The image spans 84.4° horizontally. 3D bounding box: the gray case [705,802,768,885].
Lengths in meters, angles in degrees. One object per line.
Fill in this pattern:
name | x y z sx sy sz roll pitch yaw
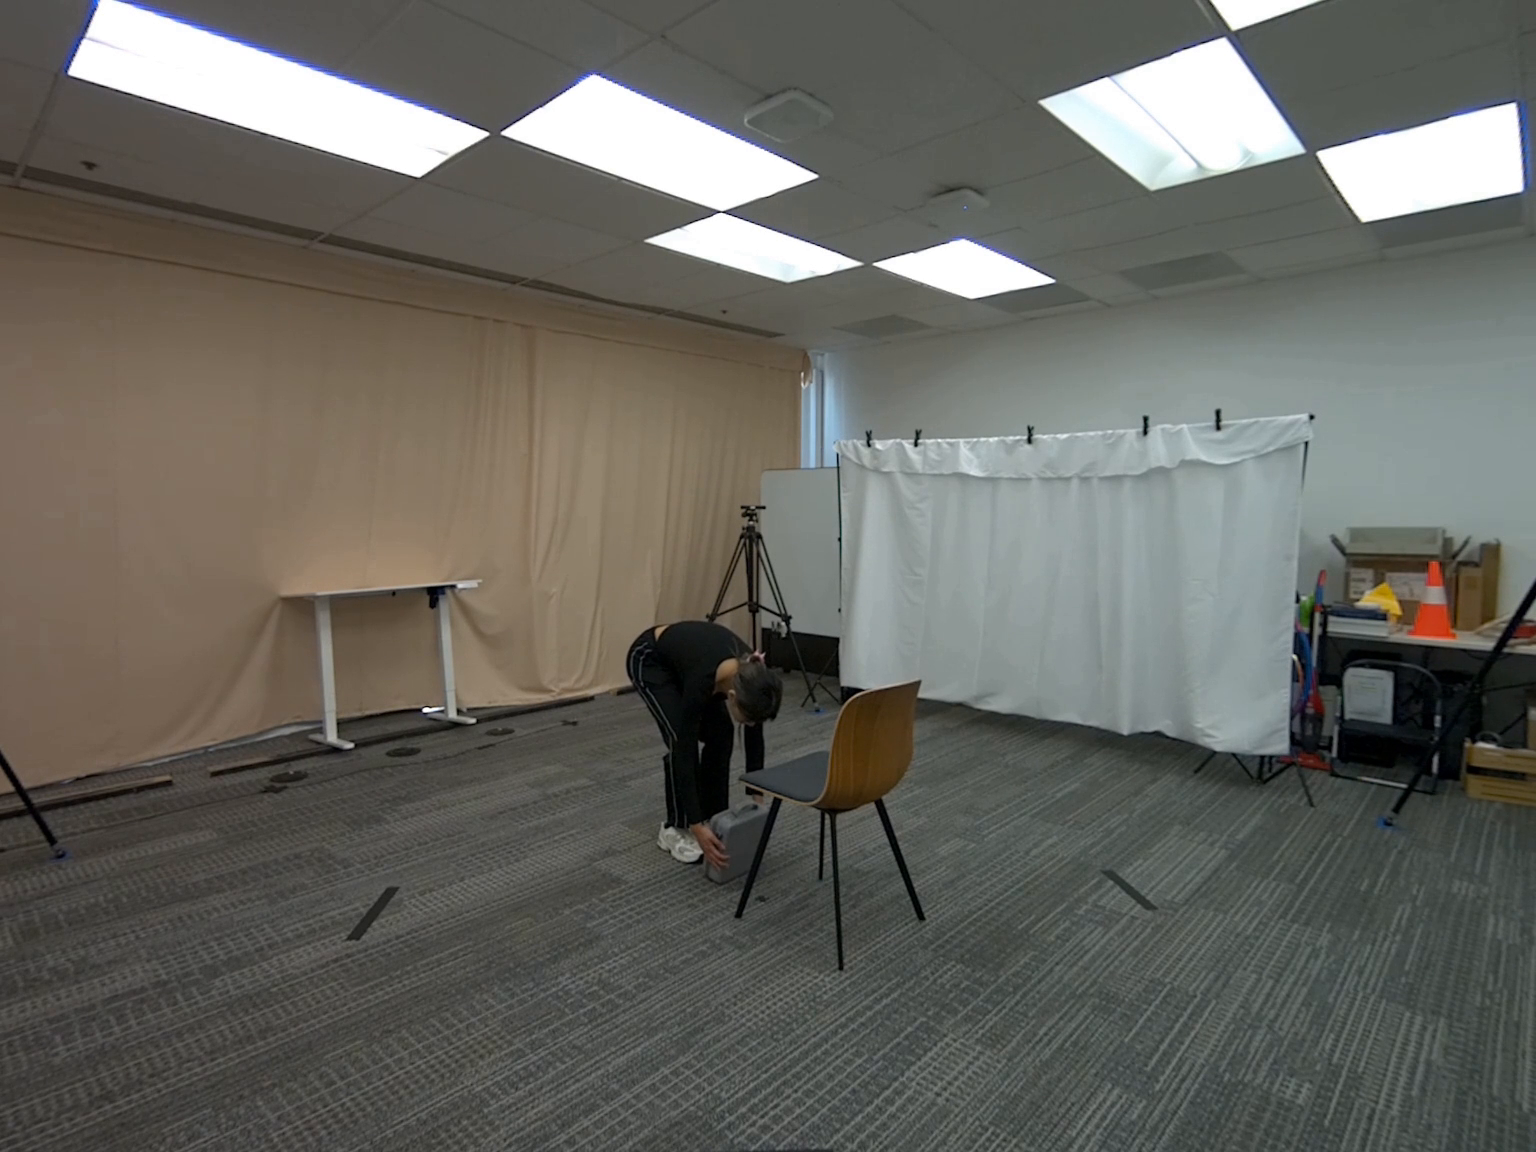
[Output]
gray case | -0.115 1.001 3.182 0.108 0.259 0.249 20 17 40
